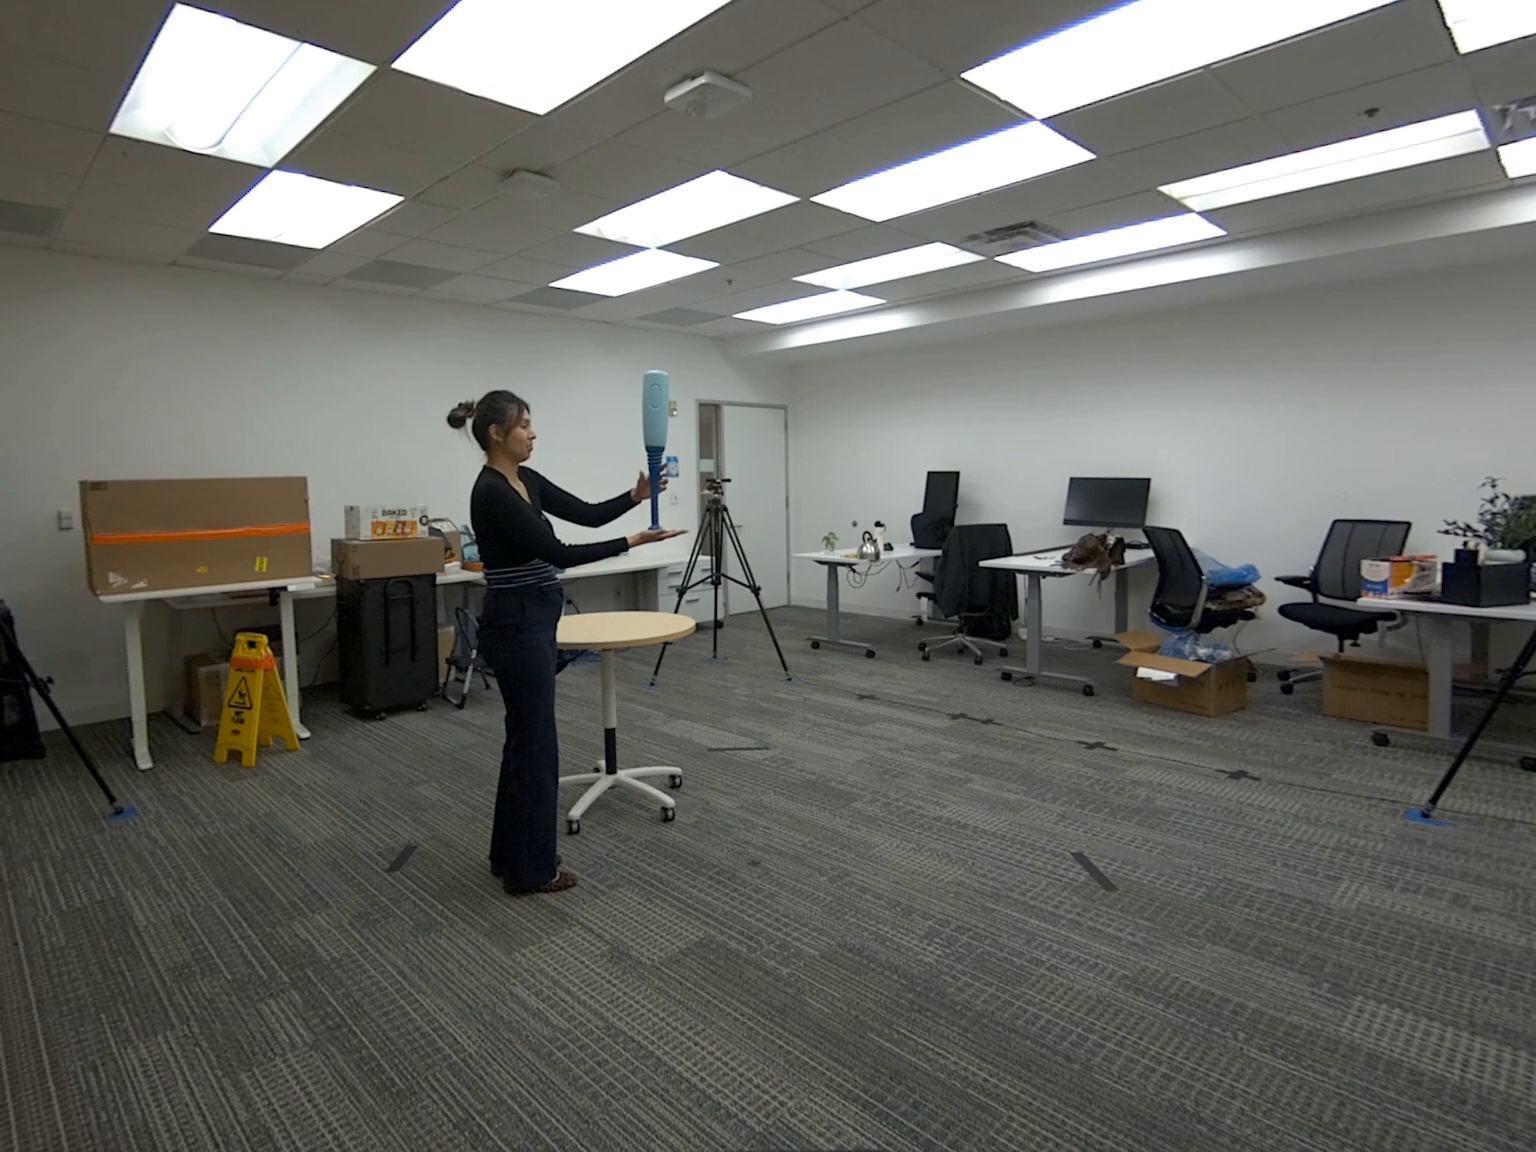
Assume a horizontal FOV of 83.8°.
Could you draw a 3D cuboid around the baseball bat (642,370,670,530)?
[{"bbox_3d":[-0.383,-0.415,2.872,0.089,0.541,0.089,-1,3,-2],"label":"baseball bat"}]
